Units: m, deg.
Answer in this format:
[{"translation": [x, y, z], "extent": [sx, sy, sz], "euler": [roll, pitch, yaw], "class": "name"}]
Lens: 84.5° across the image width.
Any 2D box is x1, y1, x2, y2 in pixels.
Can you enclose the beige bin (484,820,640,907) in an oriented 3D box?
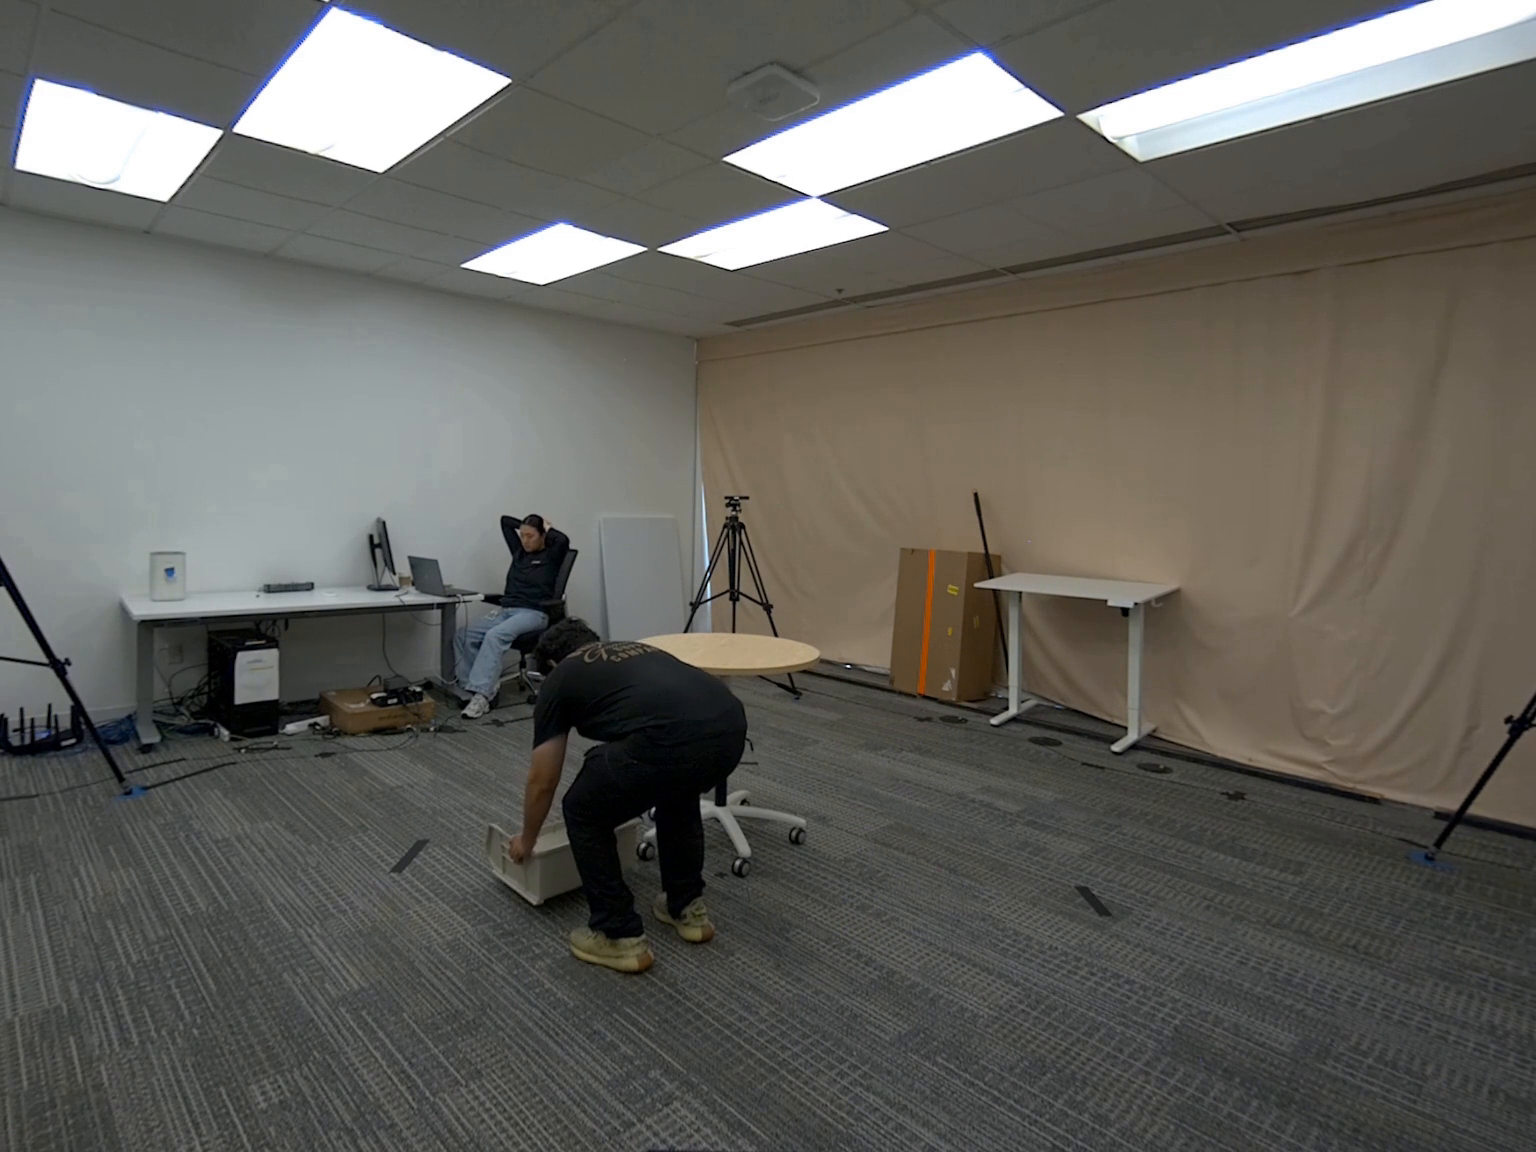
[{"translation": [-0.731, 0.947, 2.992], "extent": [0.413, 0.188, 0.387], "euler": [-4, 8, -42], "class": "beige bin"}]
